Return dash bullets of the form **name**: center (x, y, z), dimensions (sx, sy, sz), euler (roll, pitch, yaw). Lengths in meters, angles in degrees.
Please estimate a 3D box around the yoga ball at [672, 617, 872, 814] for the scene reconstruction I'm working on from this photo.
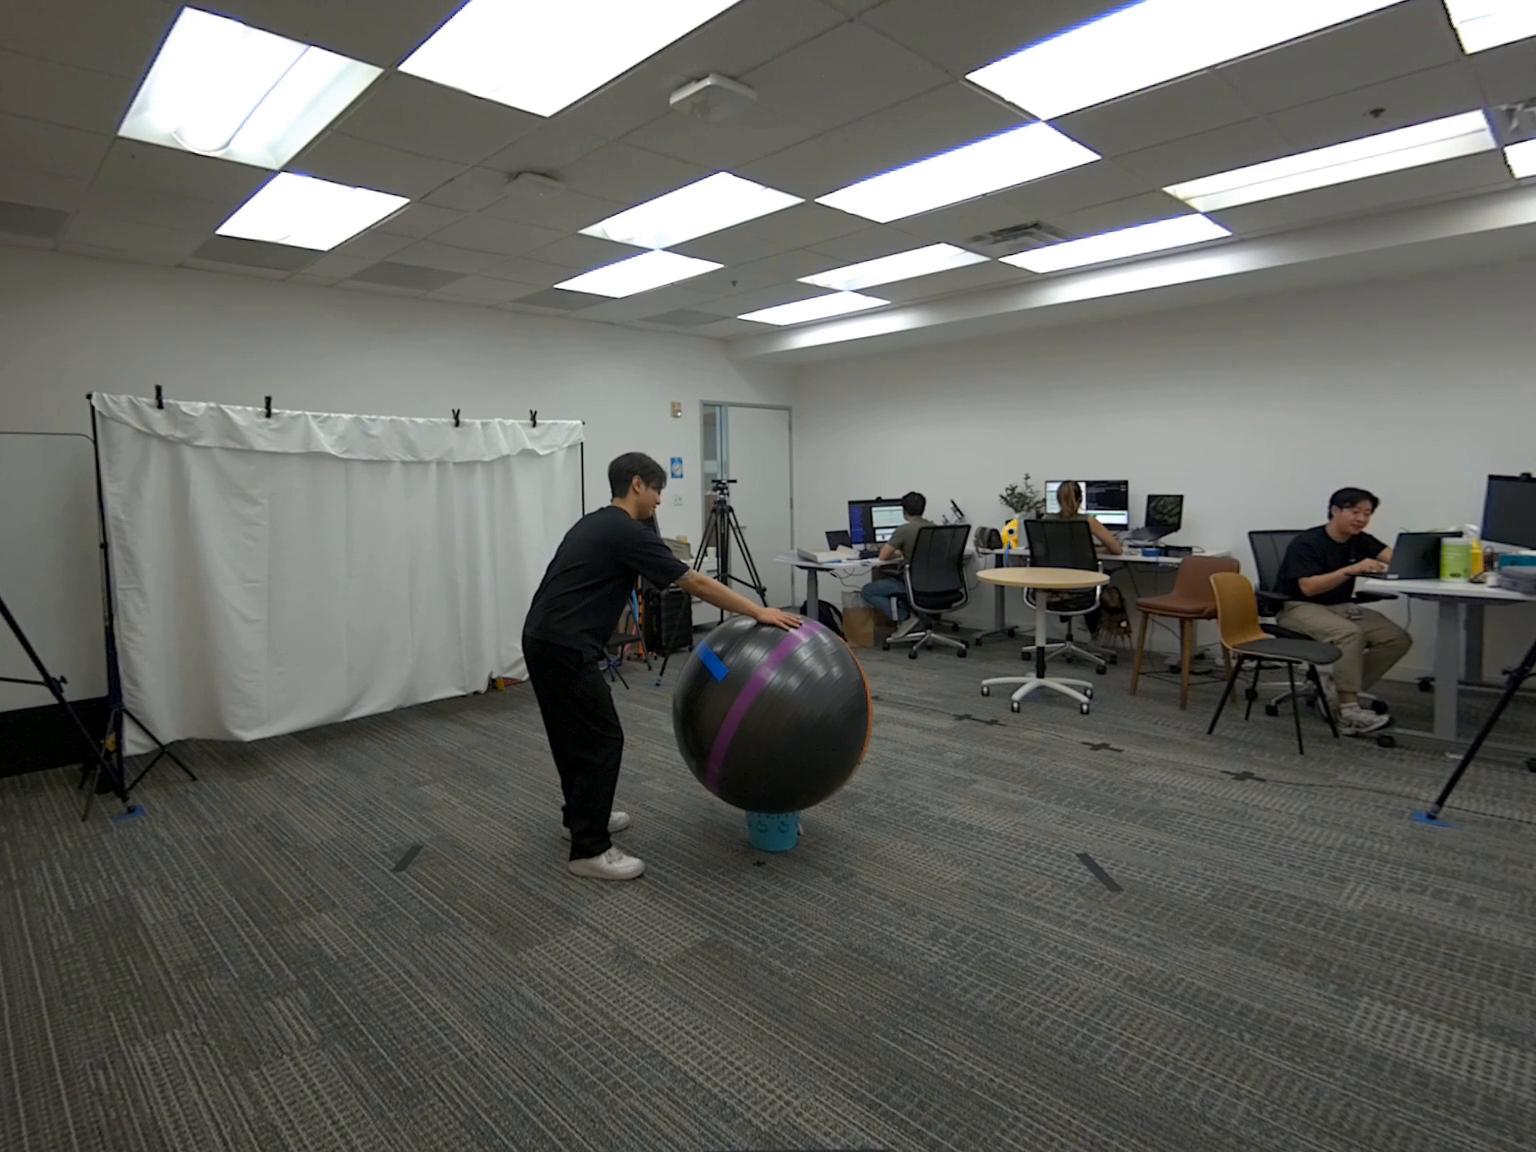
- **yoga ball**: center (0.024, 0.519, 3.277), dimensions (0.757, 0.755, 0.762), euler (-1, 5, -2)
